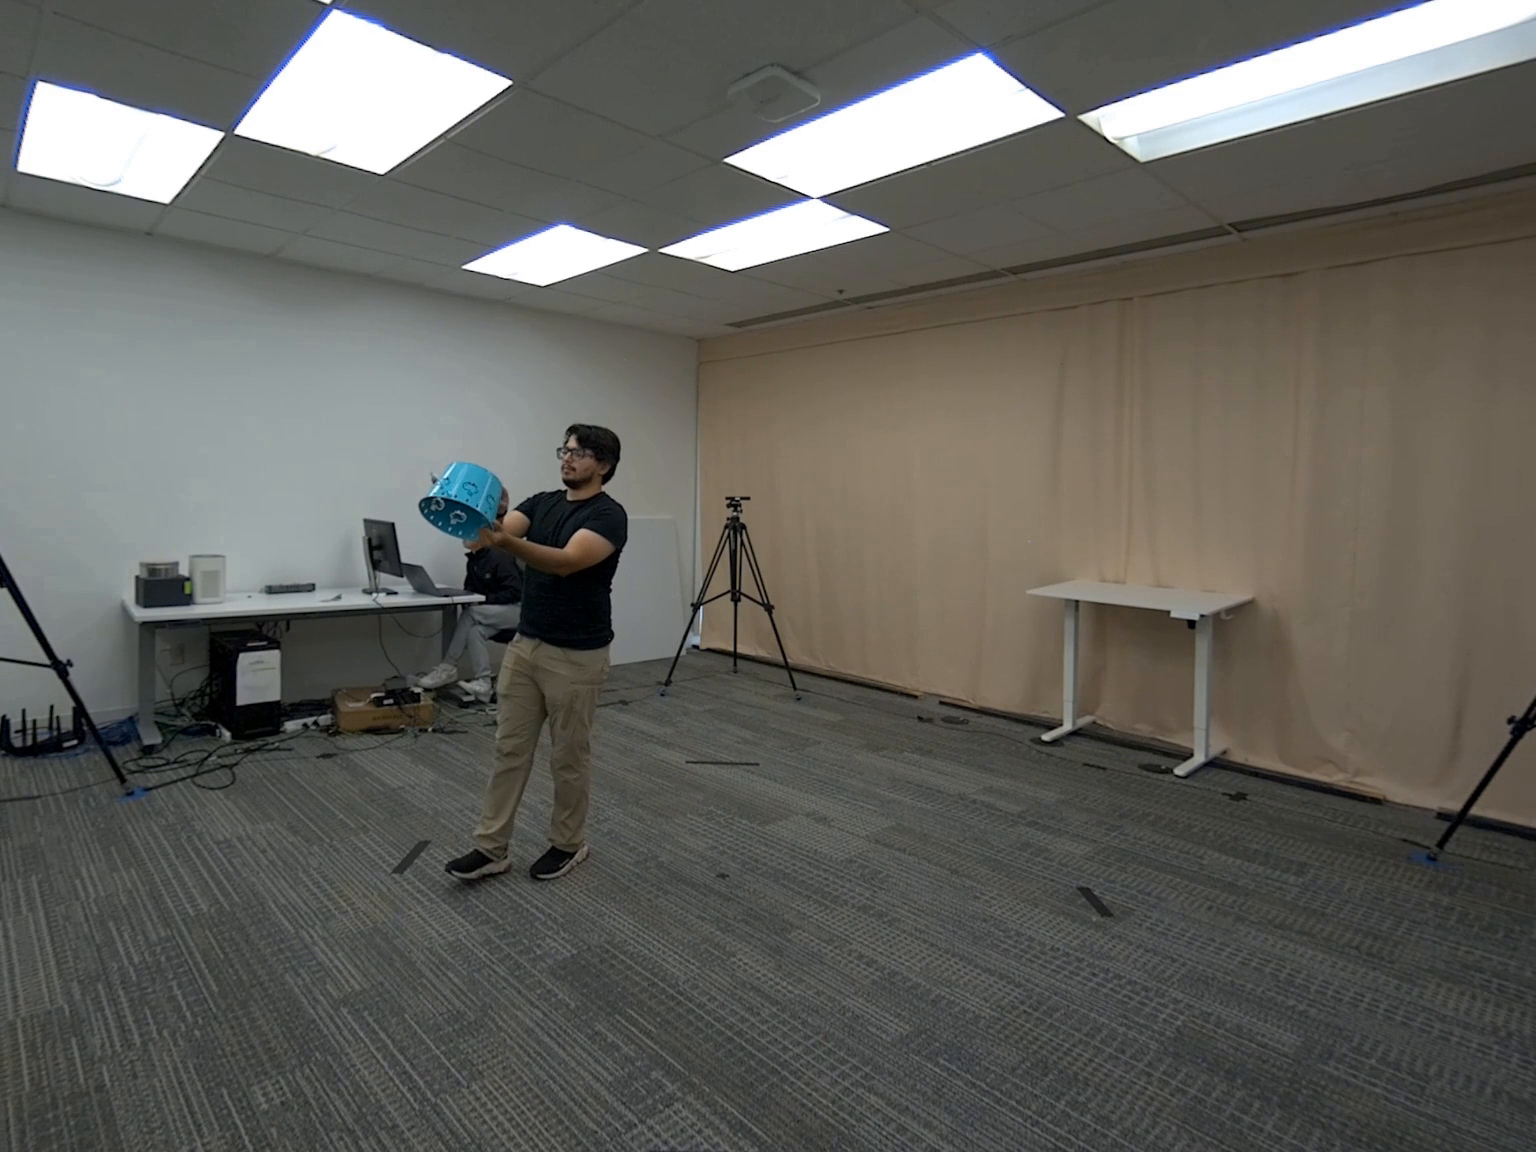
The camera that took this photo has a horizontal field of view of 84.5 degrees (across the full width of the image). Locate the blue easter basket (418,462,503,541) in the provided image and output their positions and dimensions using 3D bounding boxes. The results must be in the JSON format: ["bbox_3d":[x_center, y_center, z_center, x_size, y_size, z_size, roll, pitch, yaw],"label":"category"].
[{"bbox_3d":[-0.951,-0.235,2.577,0.245,0.158,0.239,11,-31,5],"label":"blue easter basket"}]
